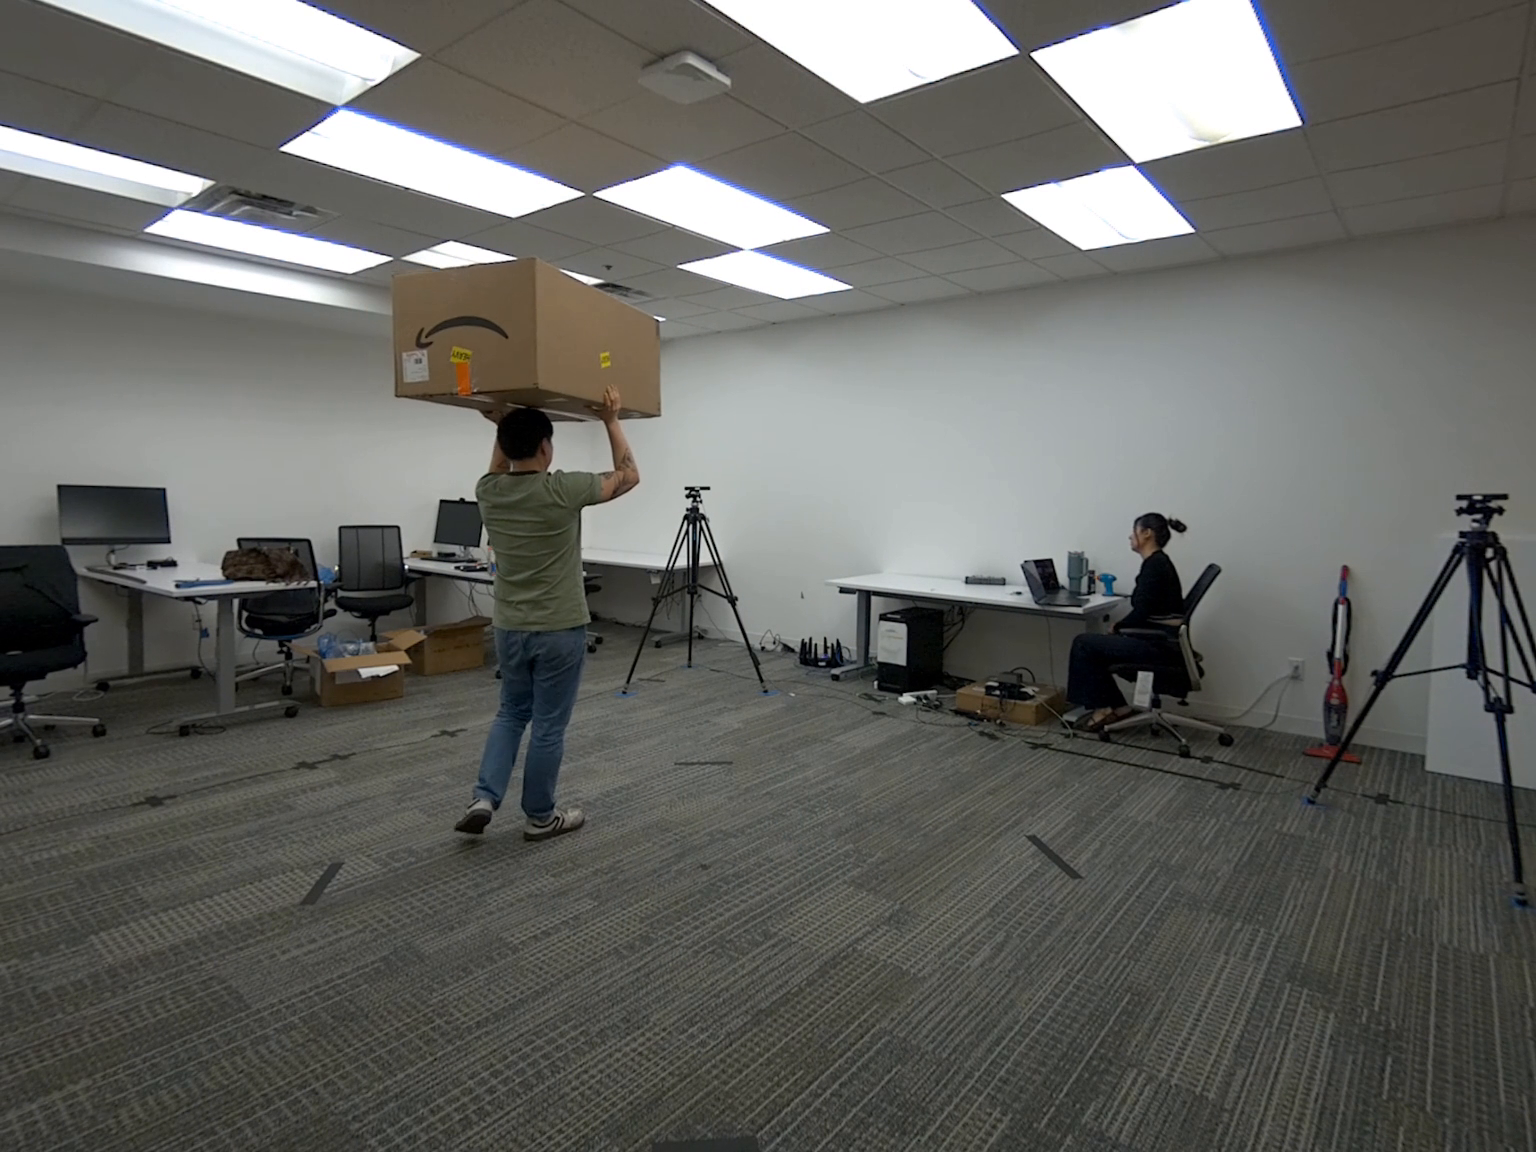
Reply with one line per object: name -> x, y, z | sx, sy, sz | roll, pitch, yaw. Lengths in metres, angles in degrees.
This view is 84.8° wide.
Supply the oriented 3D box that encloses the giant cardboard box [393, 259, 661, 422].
giant cardboard box -> -0.891, -0.862, 3.307 | 0.589, 0.425, 1.010 | 1, 5, 17
